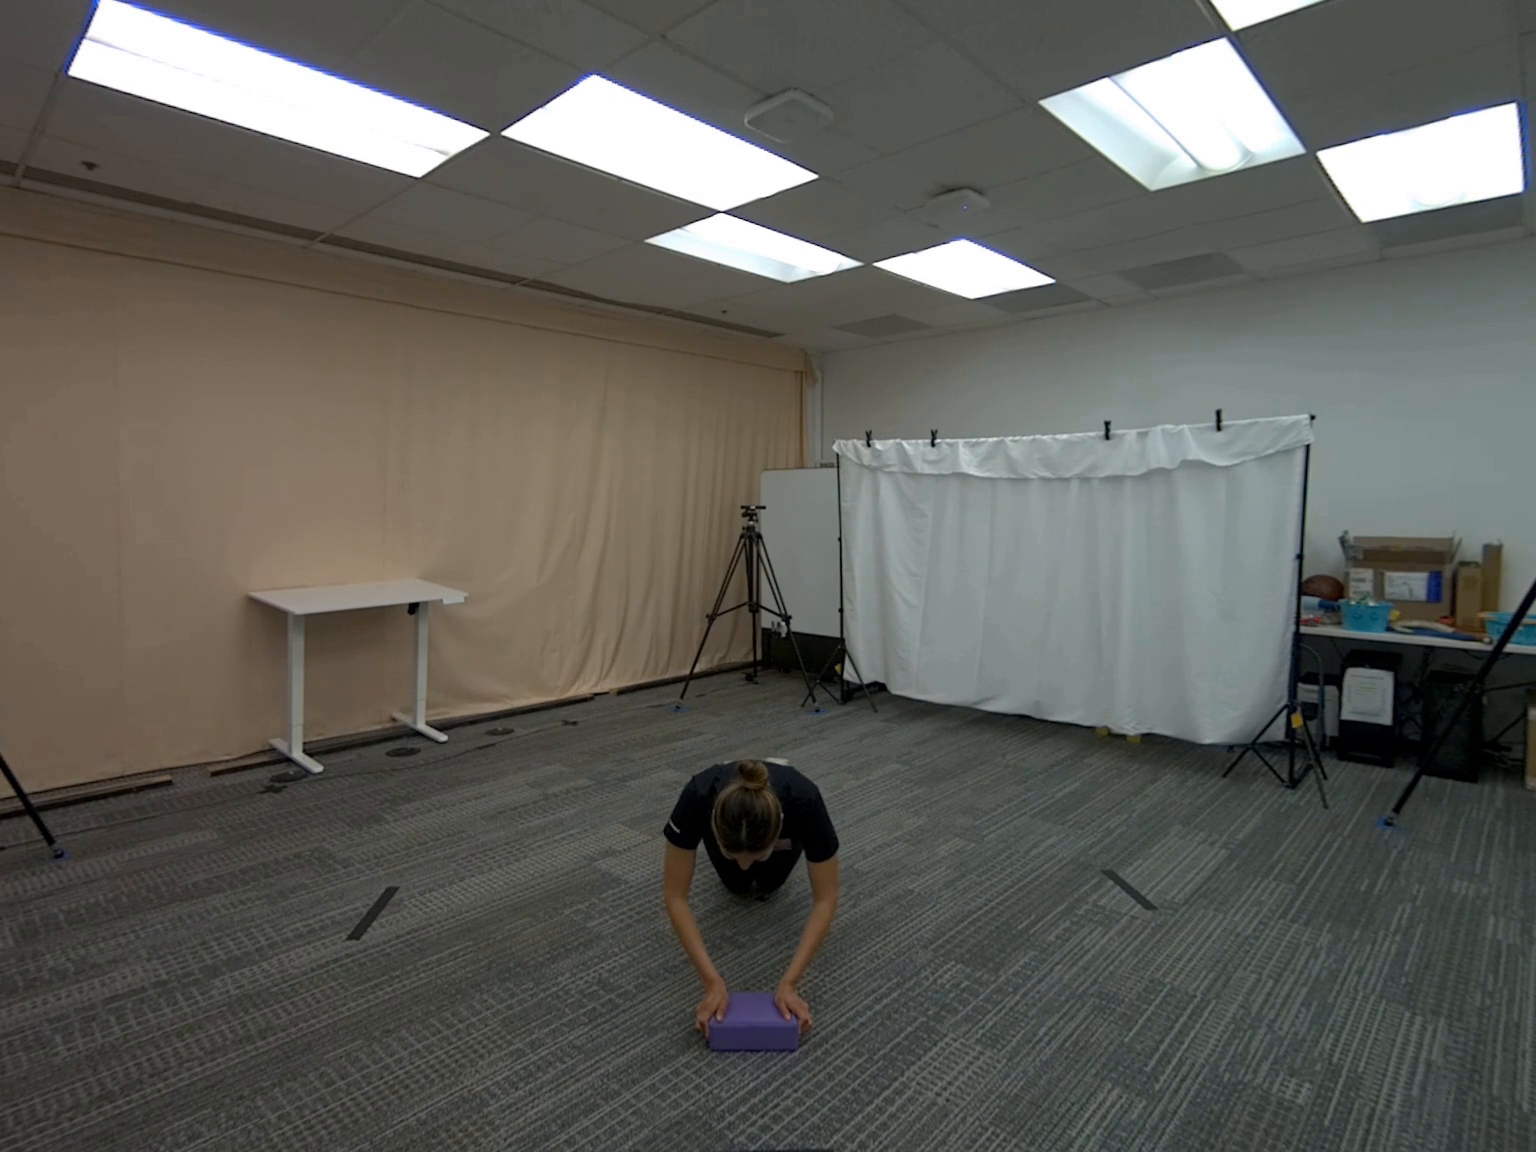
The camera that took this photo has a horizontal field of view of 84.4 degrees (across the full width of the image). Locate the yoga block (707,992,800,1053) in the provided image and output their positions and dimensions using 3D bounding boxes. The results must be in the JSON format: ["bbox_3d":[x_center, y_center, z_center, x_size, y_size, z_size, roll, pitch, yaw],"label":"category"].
[{"bbox_3d":[-0.045,1.163,2.220,0.229,0.076,0.149,-1,4,0],"label":"yoga block"}]
